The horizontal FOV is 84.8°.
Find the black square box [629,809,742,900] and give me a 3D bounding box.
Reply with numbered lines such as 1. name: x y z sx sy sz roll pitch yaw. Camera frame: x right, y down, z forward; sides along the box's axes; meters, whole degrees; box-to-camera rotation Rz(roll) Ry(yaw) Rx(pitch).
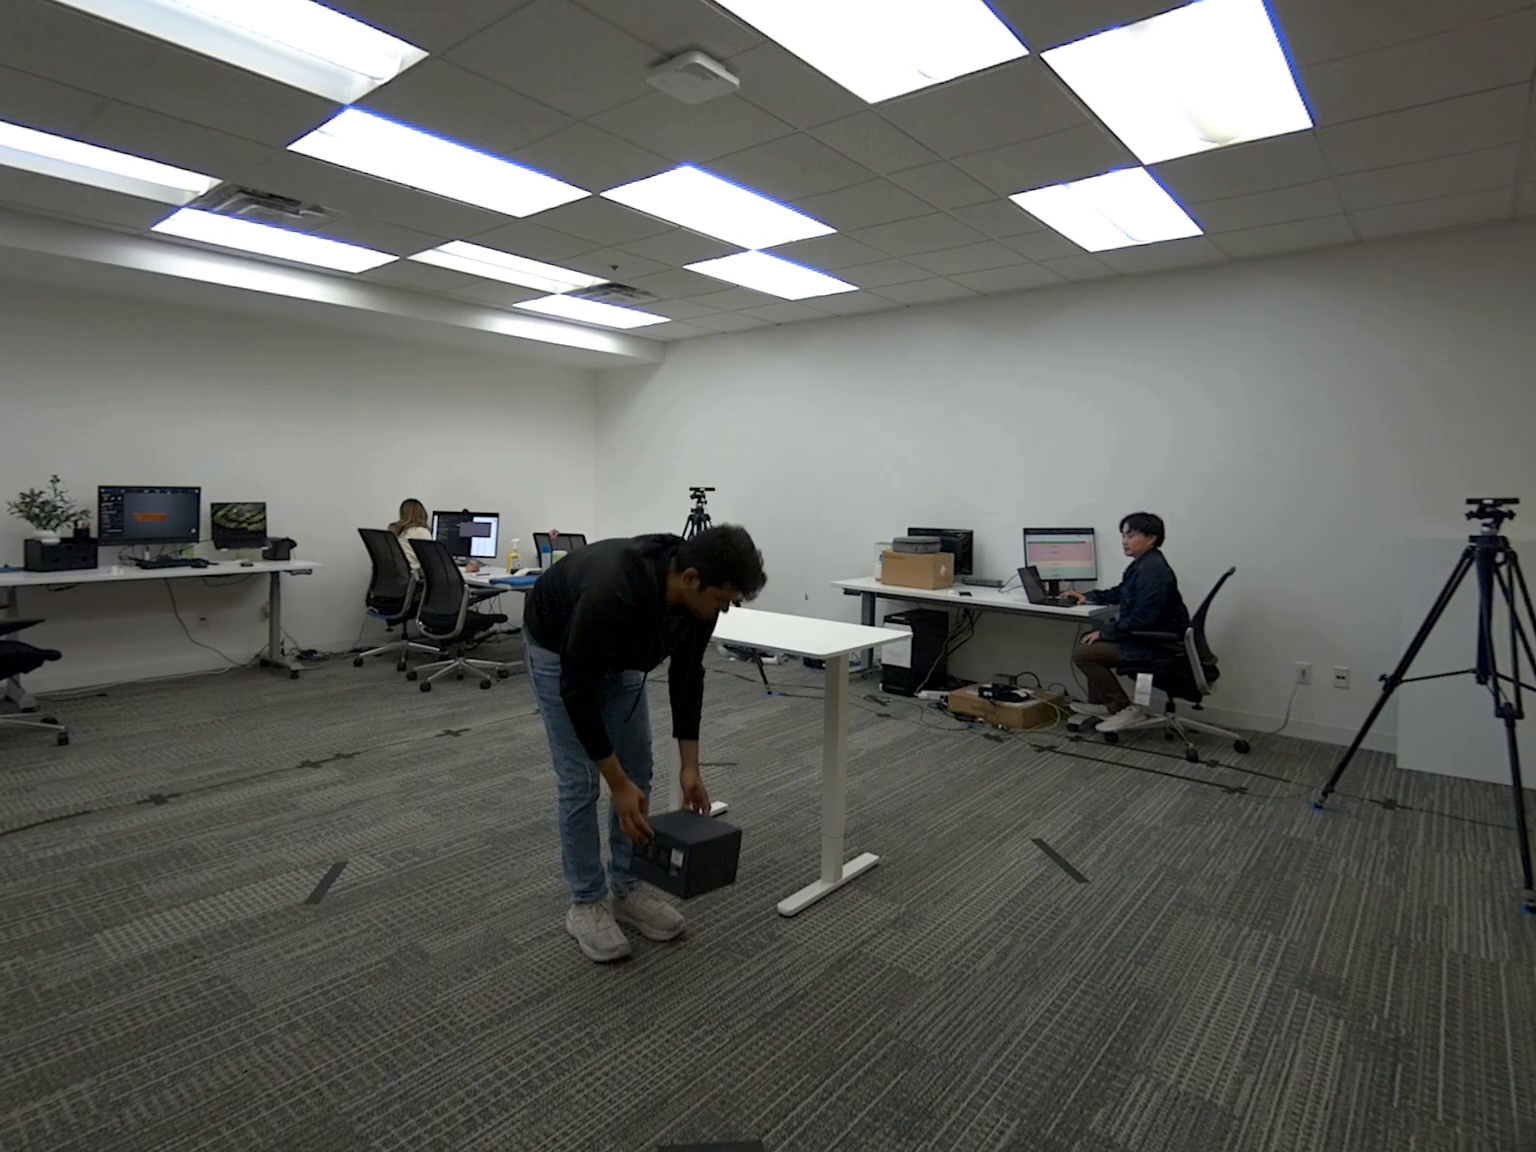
1. black square box: -0.237 0.775 2.423 0.224 0.156 0.220 7 0 37
